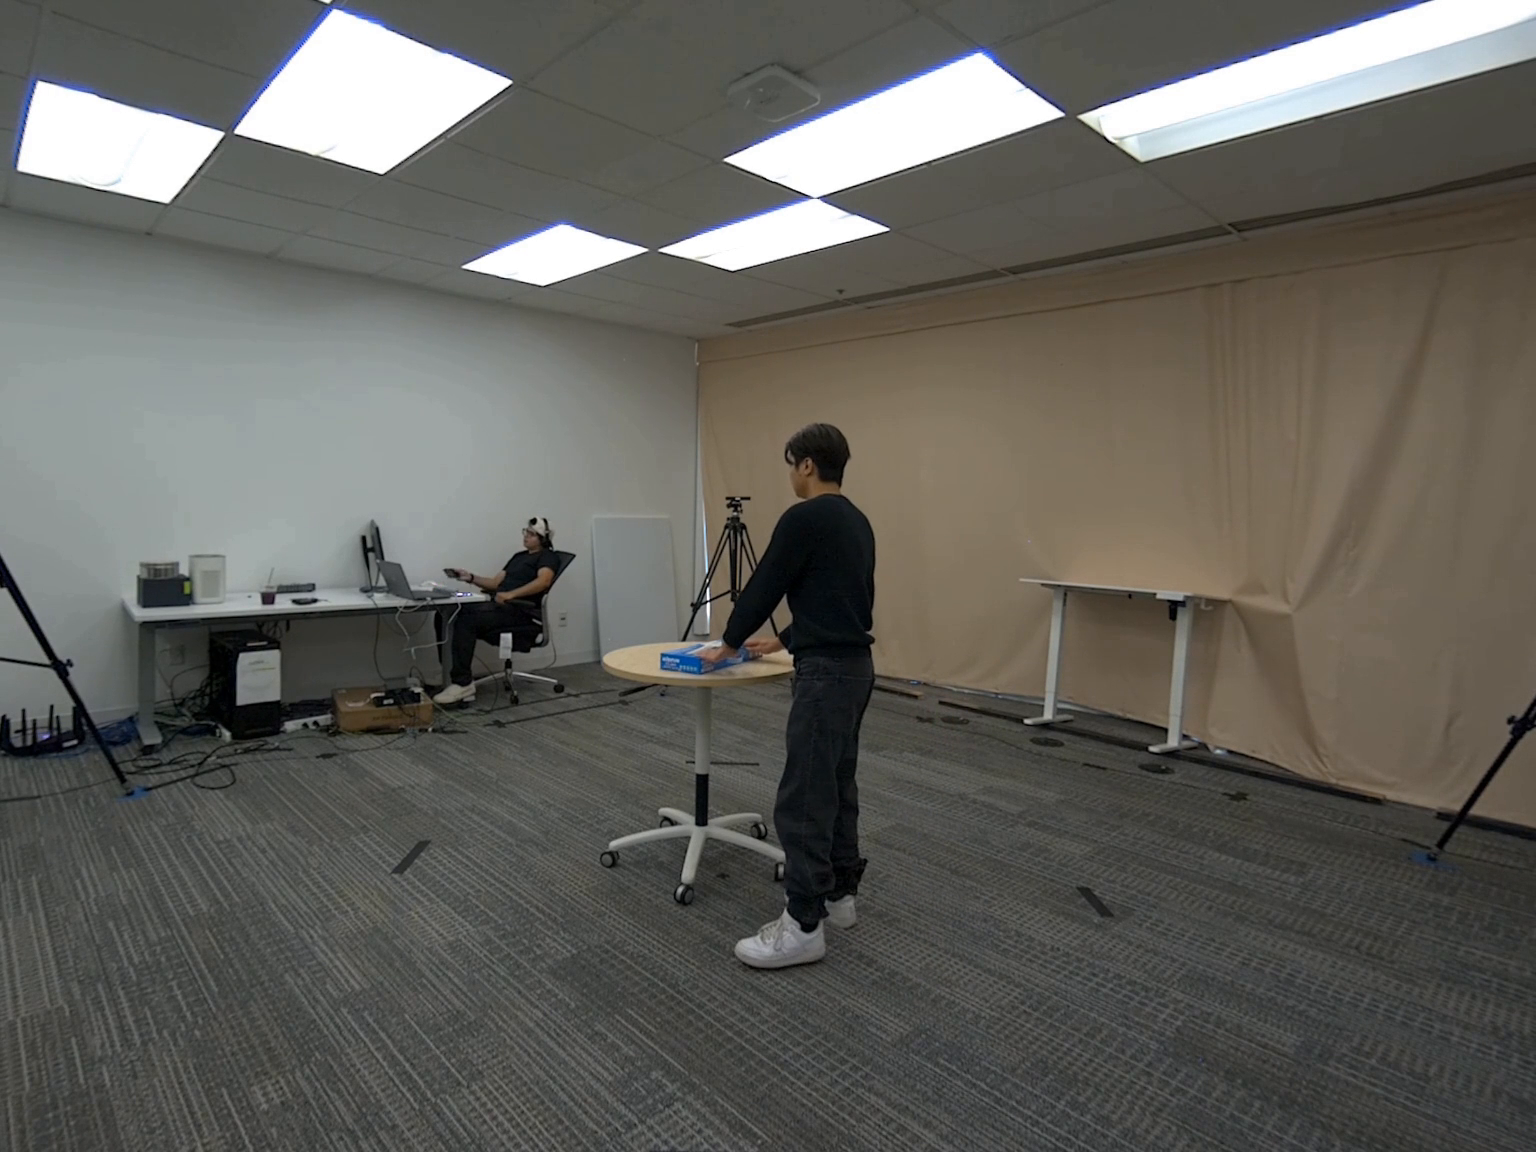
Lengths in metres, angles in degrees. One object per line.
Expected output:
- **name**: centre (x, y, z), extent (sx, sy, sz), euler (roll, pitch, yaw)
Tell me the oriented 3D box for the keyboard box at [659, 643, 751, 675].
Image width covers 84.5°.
- **keyboard box**: centre (-0.215, 0.292, 3.111), extent (0.180, 0.059, 0.428), euler (3, 6, 31)
